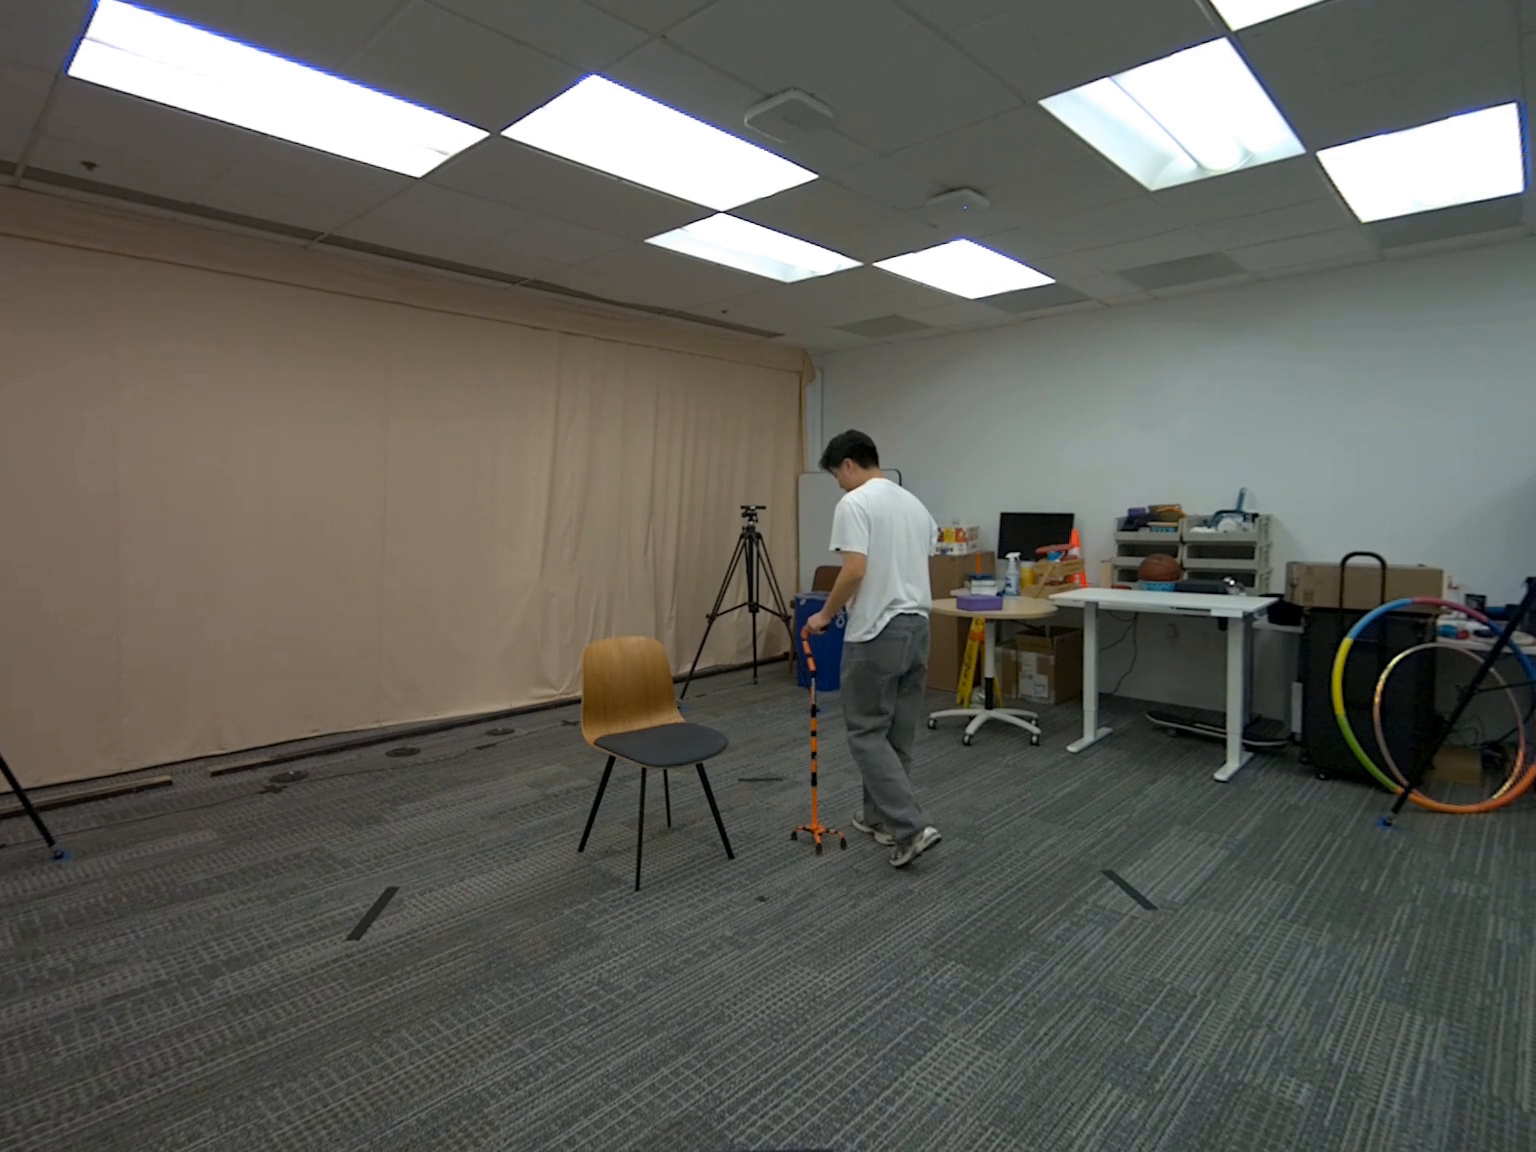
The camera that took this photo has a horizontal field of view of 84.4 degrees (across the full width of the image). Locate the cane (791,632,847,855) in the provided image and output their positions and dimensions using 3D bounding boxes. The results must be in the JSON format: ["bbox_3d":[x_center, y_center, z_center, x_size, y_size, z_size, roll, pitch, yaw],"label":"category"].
[{"bbox_3d":[0.212,0.645,3.466,0.147,0.907,0.212,-3,1,-33],"label":"cane"}]
